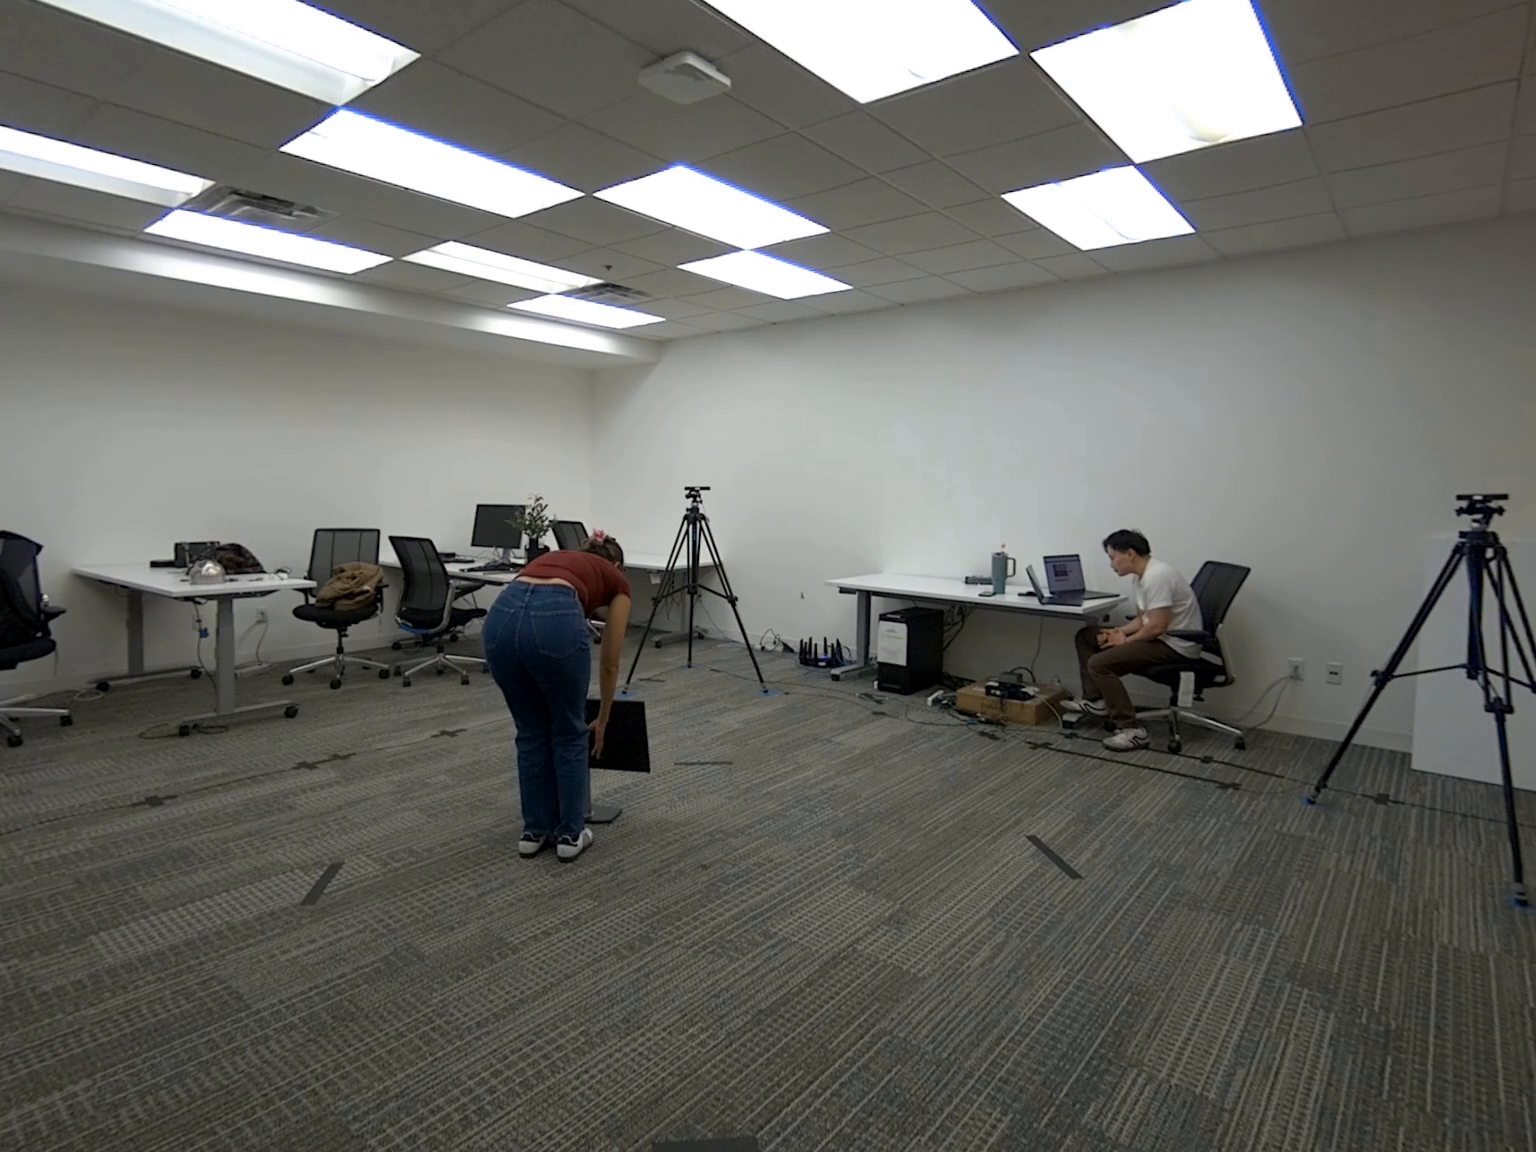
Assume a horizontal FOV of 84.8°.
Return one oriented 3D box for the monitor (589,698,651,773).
[{"bbox_3d":[-0.777,0.758,3.575,0.545,0.519,0.186,1,6,10],"label":"monitor"}]
